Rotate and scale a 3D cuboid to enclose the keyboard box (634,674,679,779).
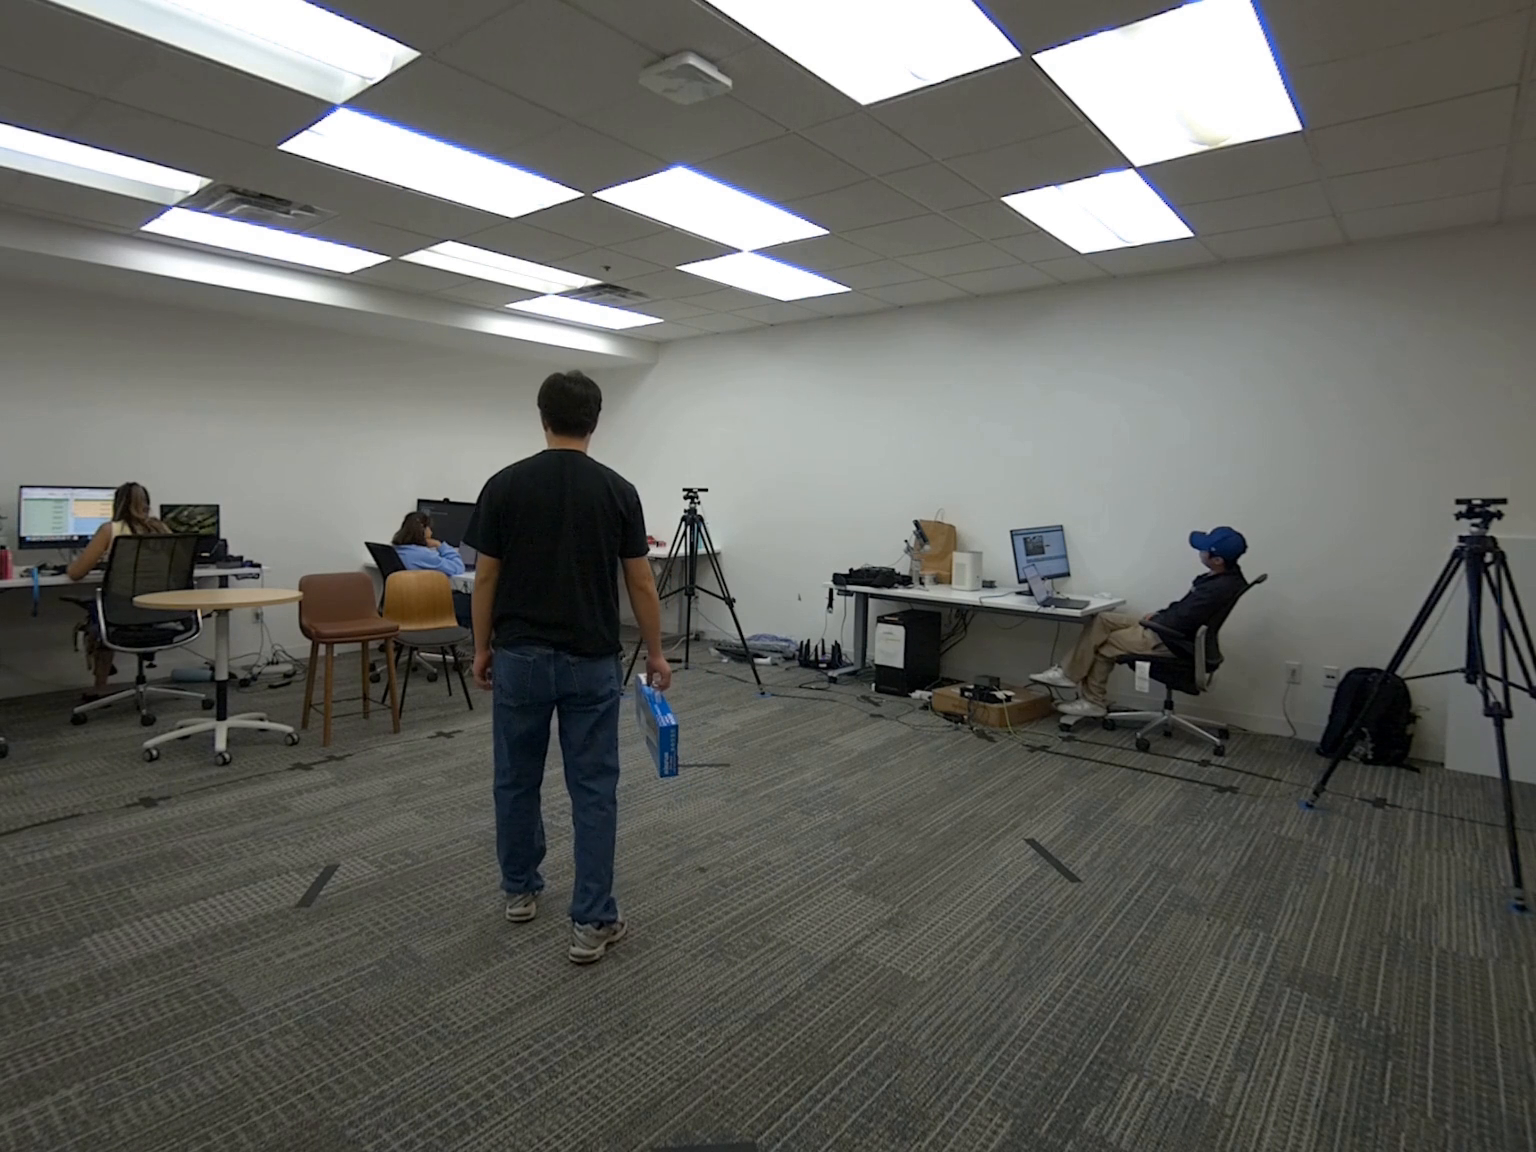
[{"bbox_3d":[-0.380,0.474,2.794,0.058,0.174,0.450,-4,15,-18],"label":"keyboard box"}]
